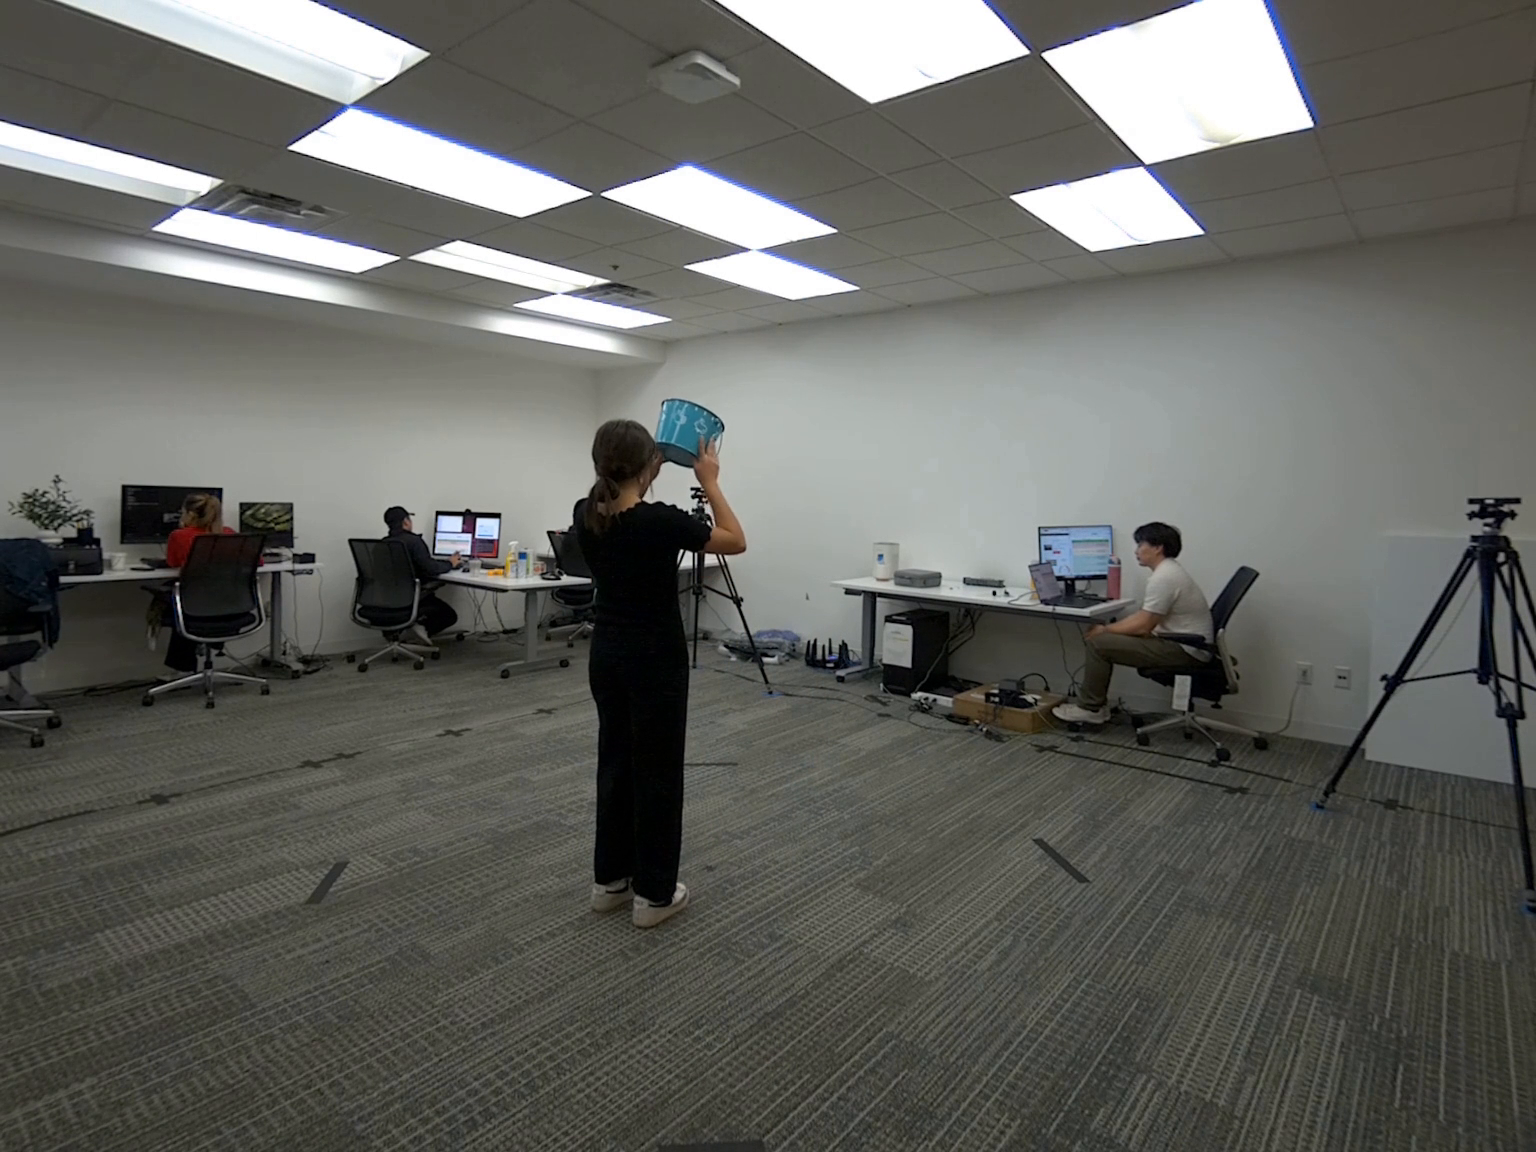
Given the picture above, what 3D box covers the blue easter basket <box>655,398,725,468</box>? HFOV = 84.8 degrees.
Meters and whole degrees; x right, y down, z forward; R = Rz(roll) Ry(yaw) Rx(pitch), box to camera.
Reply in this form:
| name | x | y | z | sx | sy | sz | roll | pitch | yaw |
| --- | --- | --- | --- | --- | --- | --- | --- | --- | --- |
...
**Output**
| name | x | y | z | sx | sy | sz | roll | pitch | yaw |
| --- | --- | --- | --- | --- | --- | --- | --- | --- | --- |
| blue easter basket | -0.276 | -0.473 | 2.877 | 0.245 | 0.157 | 0.240 | 21 | -14 | 4 |
